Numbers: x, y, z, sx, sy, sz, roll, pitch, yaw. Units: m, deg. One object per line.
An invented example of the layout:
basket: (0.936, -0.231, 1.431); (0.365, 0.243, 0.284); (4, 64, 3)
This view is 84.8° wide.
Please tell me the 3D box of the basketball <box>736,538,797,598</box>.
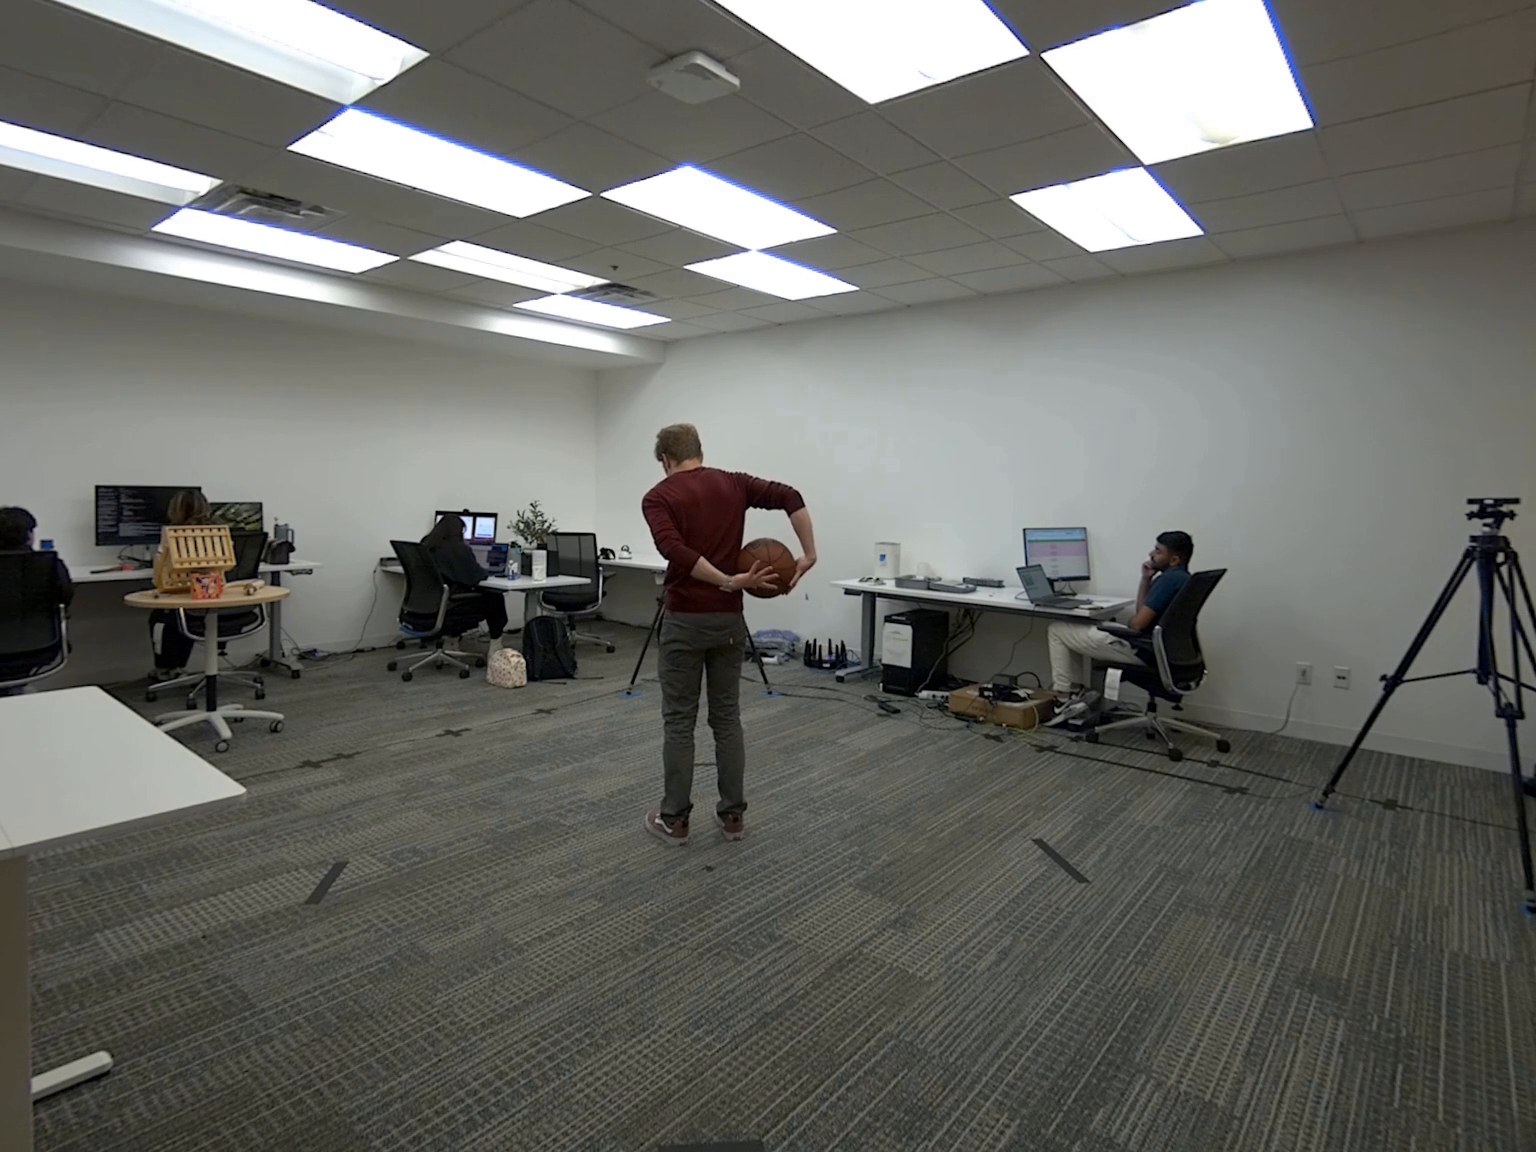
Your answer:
basketball: (-0.024, -0.033, 3.338); (0.235, 0.235, 0.237); (1, 4, -2)
